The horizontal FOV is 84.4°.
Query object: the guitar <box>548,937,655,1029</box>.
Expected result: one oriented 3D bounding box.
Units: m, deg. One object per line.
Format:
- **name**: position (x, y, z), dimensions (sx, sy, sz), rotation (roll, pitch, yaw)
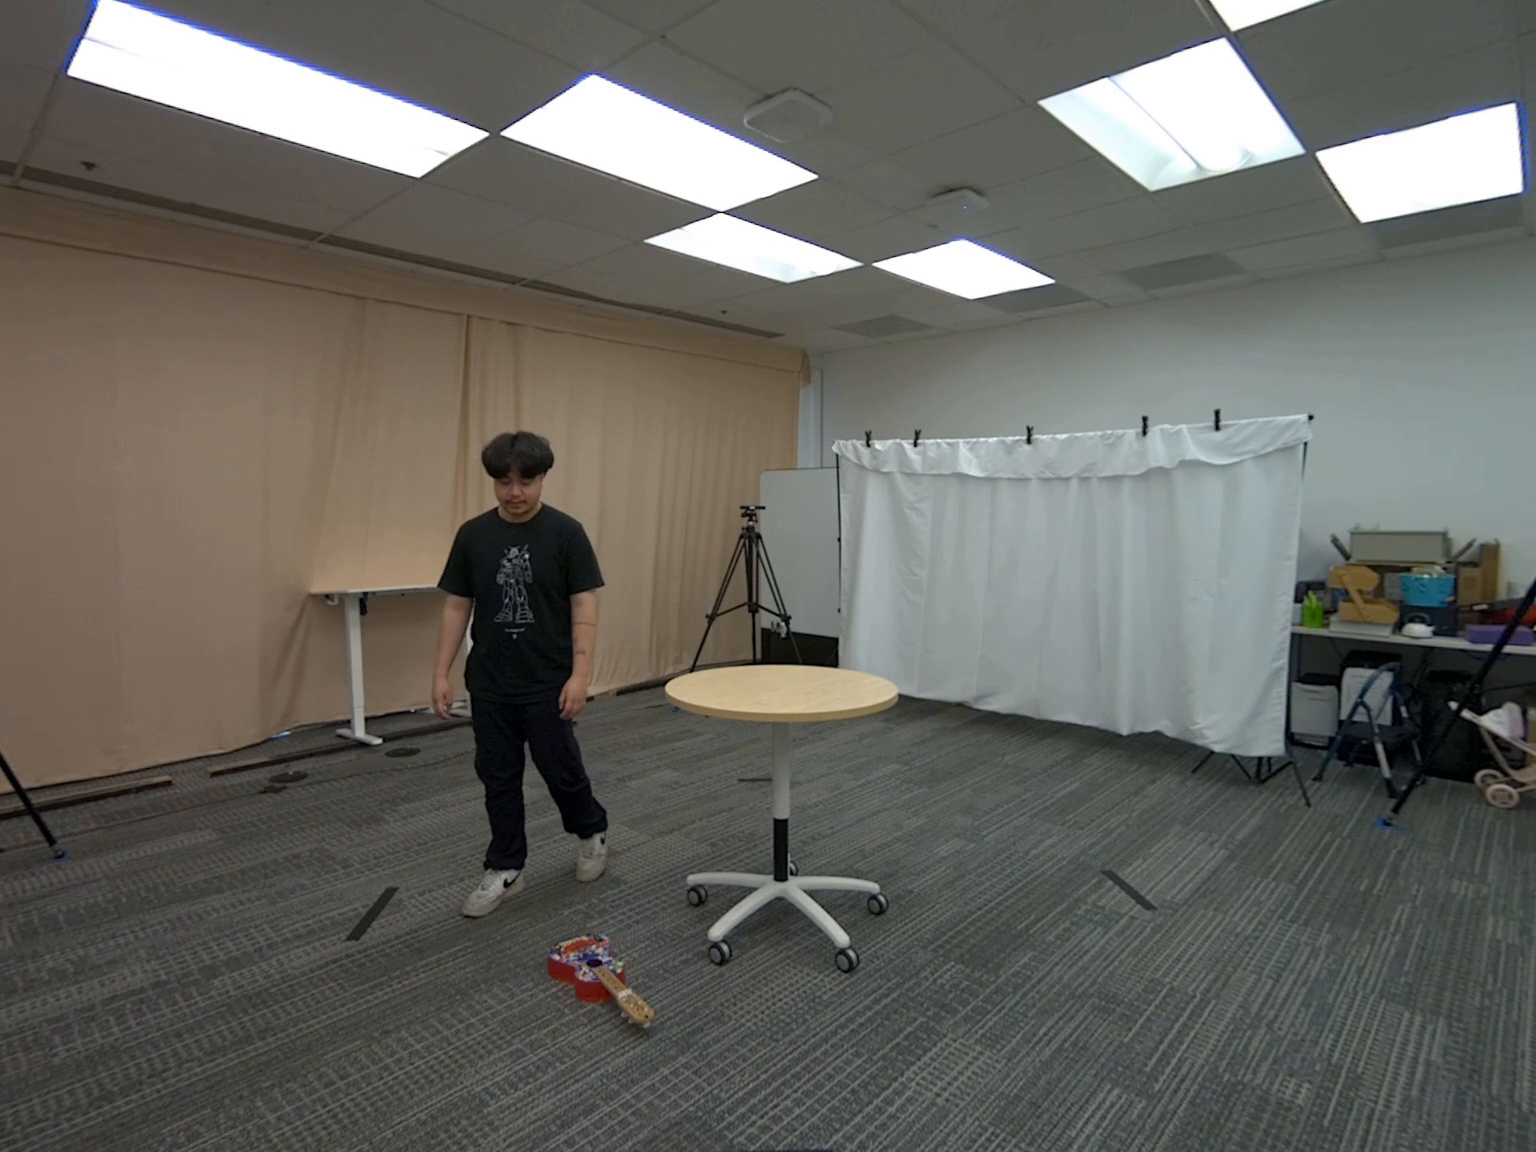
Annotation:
- **guitar**: position (-0.488, 1.167, 2.381), dimensions (0.188, 0.070, 0.511), rotation (-2, 4, -27)
